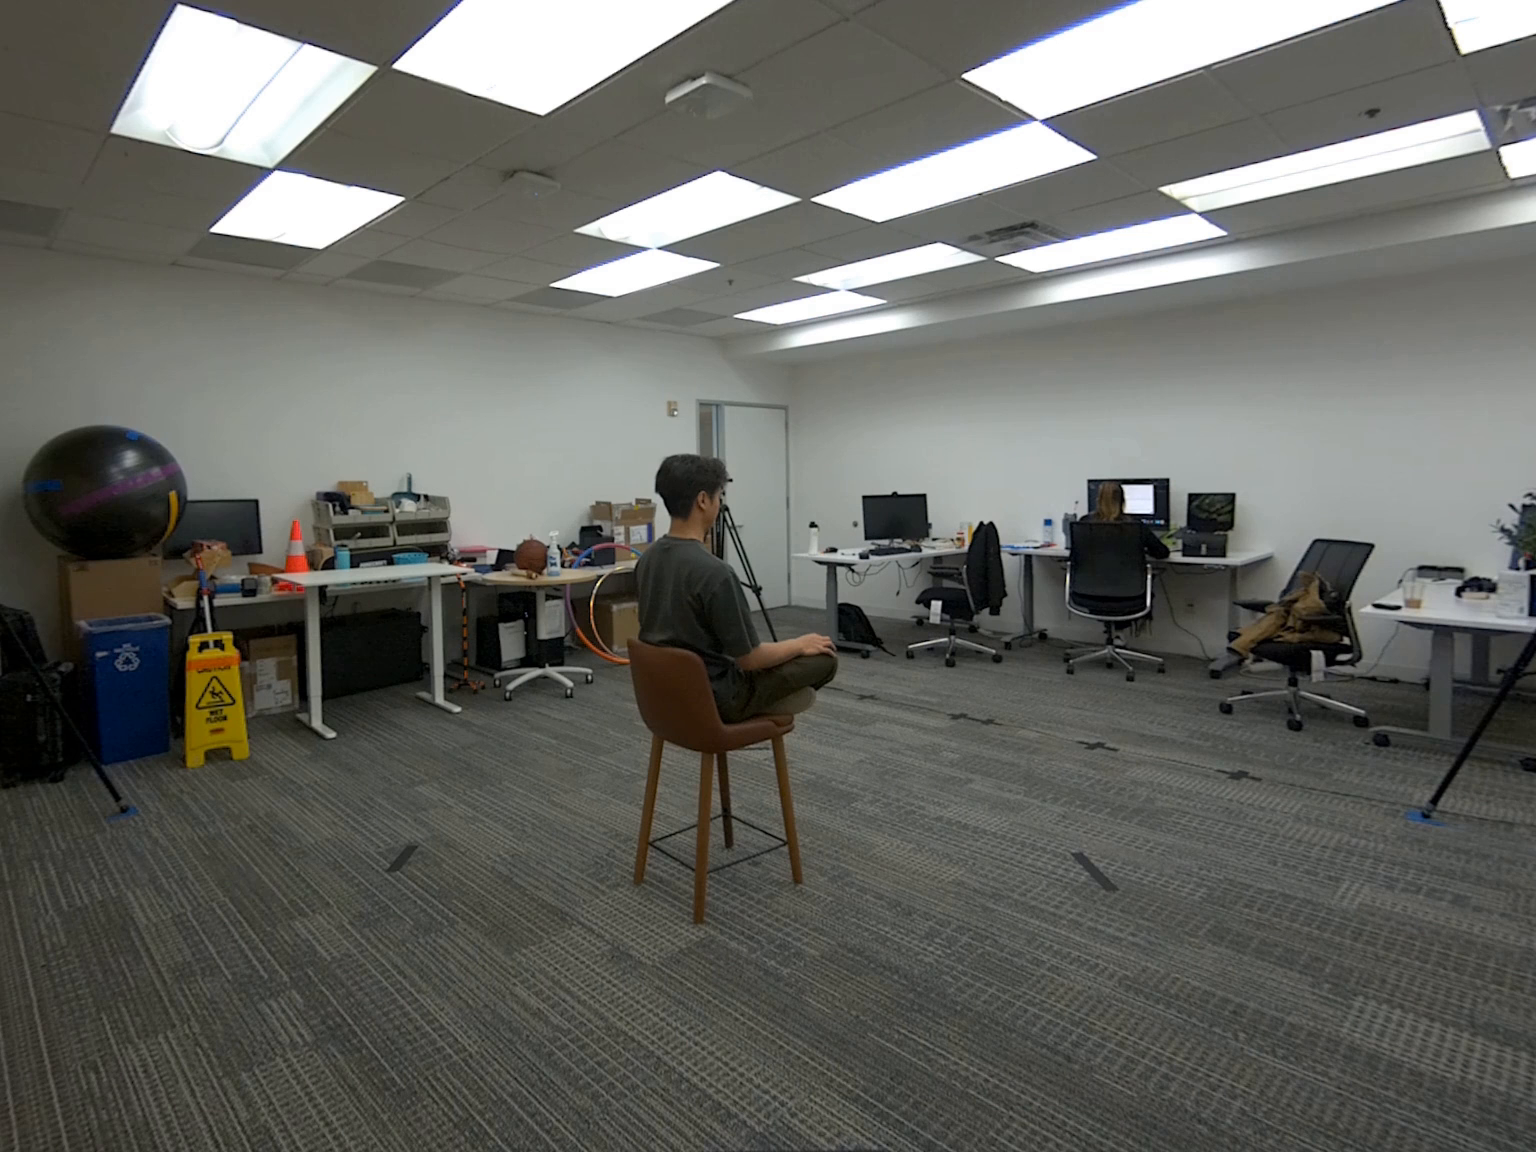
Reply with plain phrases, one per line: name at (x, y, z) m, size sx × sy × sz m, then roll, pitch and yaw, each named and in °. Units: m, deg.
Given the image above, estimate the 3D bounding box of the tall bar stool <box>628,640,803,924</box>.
tall bar stool at (-0.193, 0.632, 2.935) m, size 0.456 × 0.885 × 0.470 m, roll -8°, pitch 8°, yaw -40°
